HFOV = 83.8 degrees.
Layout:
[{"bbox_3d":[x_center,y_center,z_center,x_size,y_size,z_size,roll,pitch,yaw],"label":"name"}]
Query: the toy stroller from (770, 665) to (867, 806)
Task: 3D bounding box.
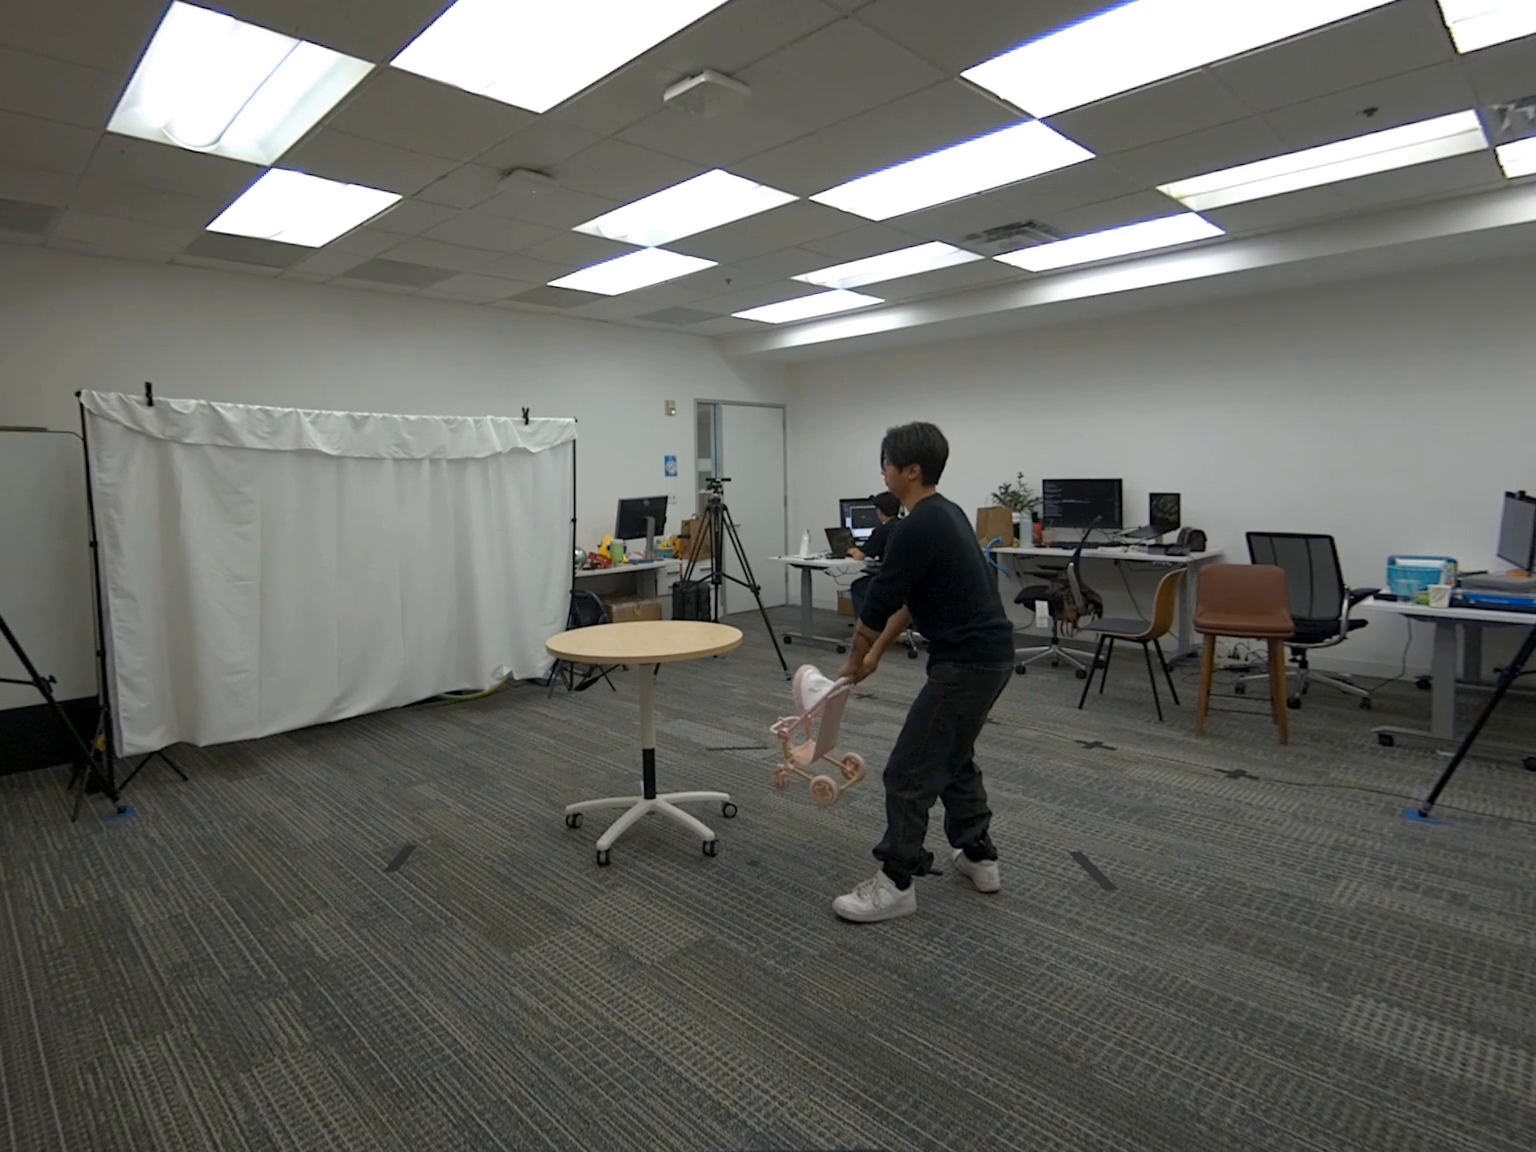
[{"bbox_3d":[0.178,0.571,3.133,0.352,0.531,0.275,9,11,35],"label":"toy stroller"}]
